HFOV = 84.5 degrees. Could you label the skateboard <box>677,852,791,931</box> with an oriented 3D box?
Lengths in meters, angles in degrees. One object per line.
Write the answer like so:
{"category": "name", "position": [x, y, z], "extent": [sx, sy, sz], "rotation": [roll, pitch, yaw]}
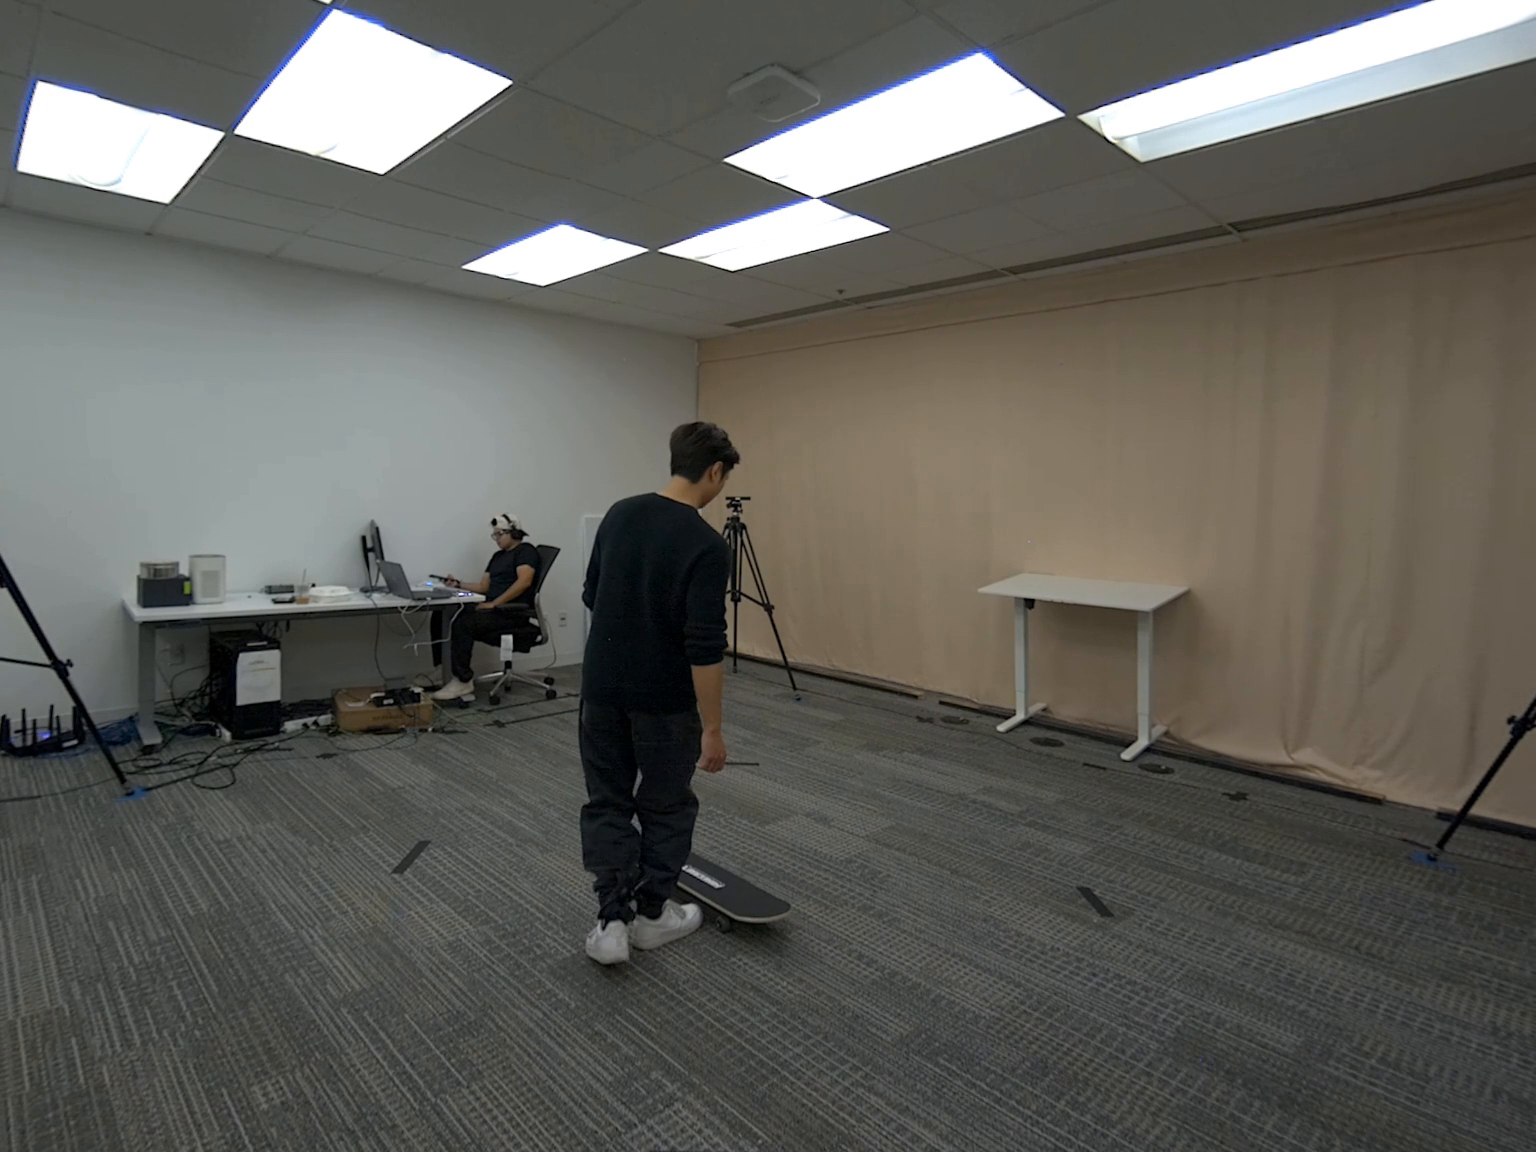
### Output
{"category": "skateboard", "position": [-0.235, 1.068, 2.898], "extent": [0.189, 0.110, 0.806], "rotation": [-3, 7, -42]}
